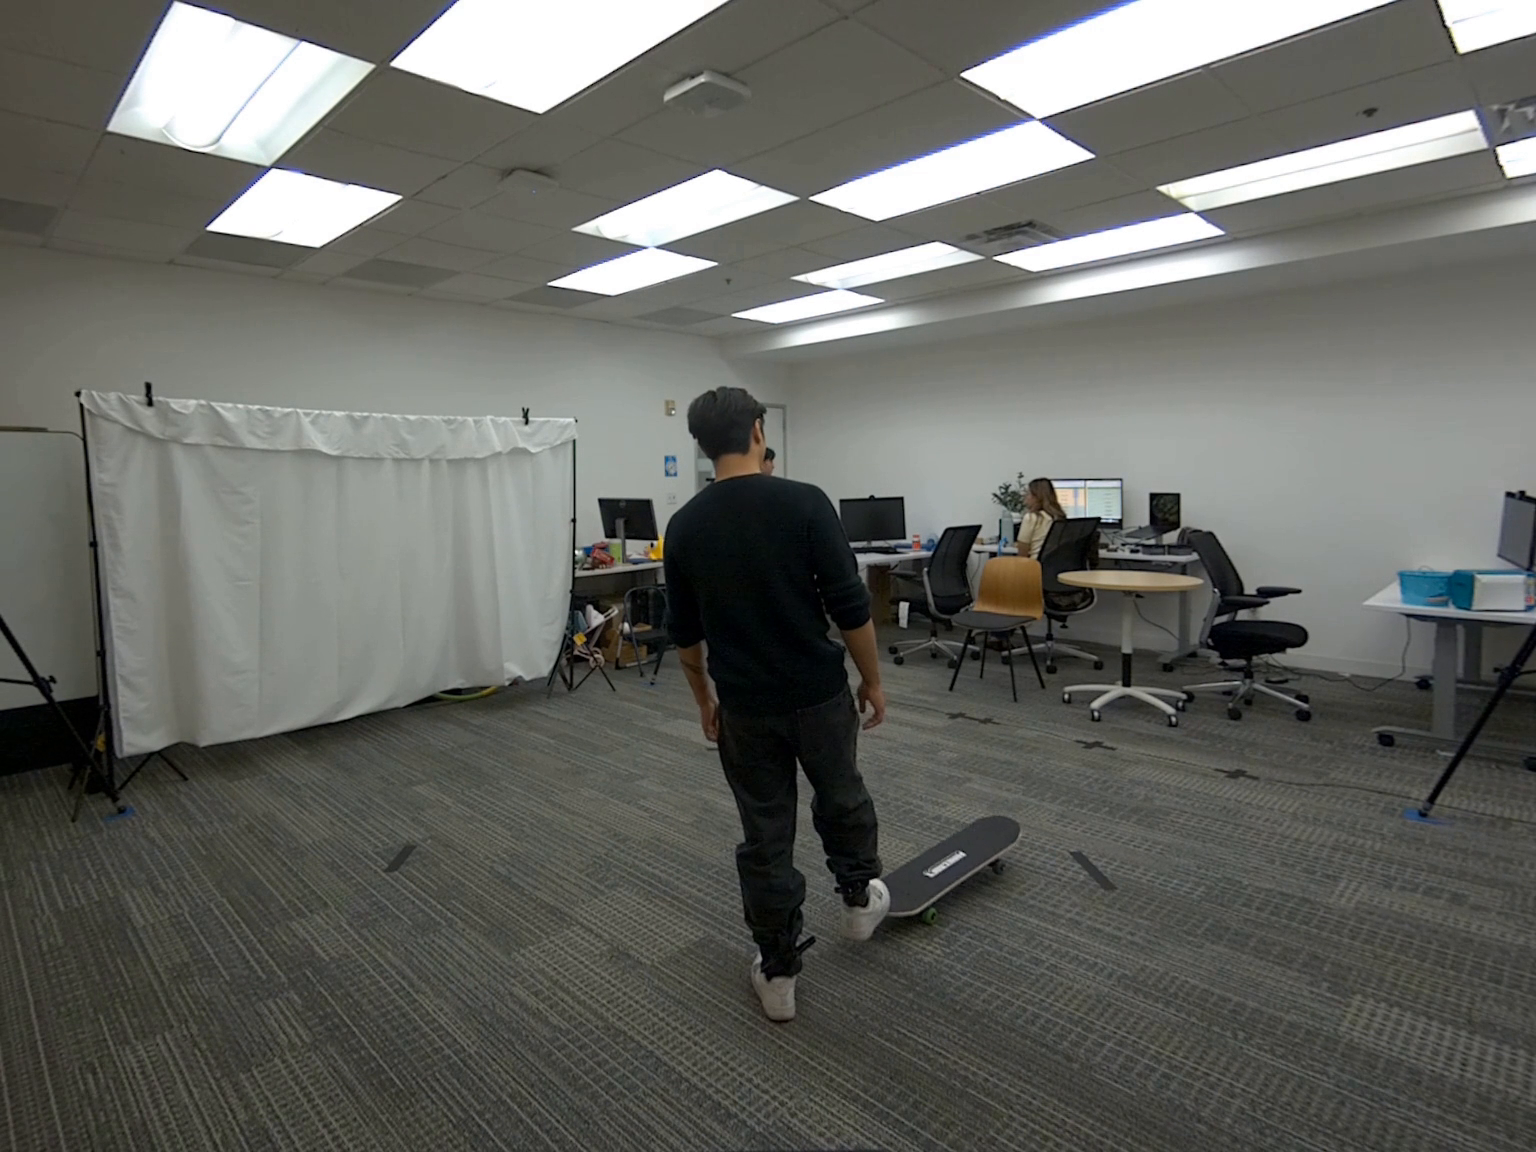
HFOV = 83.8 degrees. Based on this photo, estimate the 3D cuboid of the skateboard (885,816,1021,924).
[{"bbox_3d":[0.600,0.996,2.845,0.767,0.109,0.199,-13,12,-41],"label":"skateboard"}]
